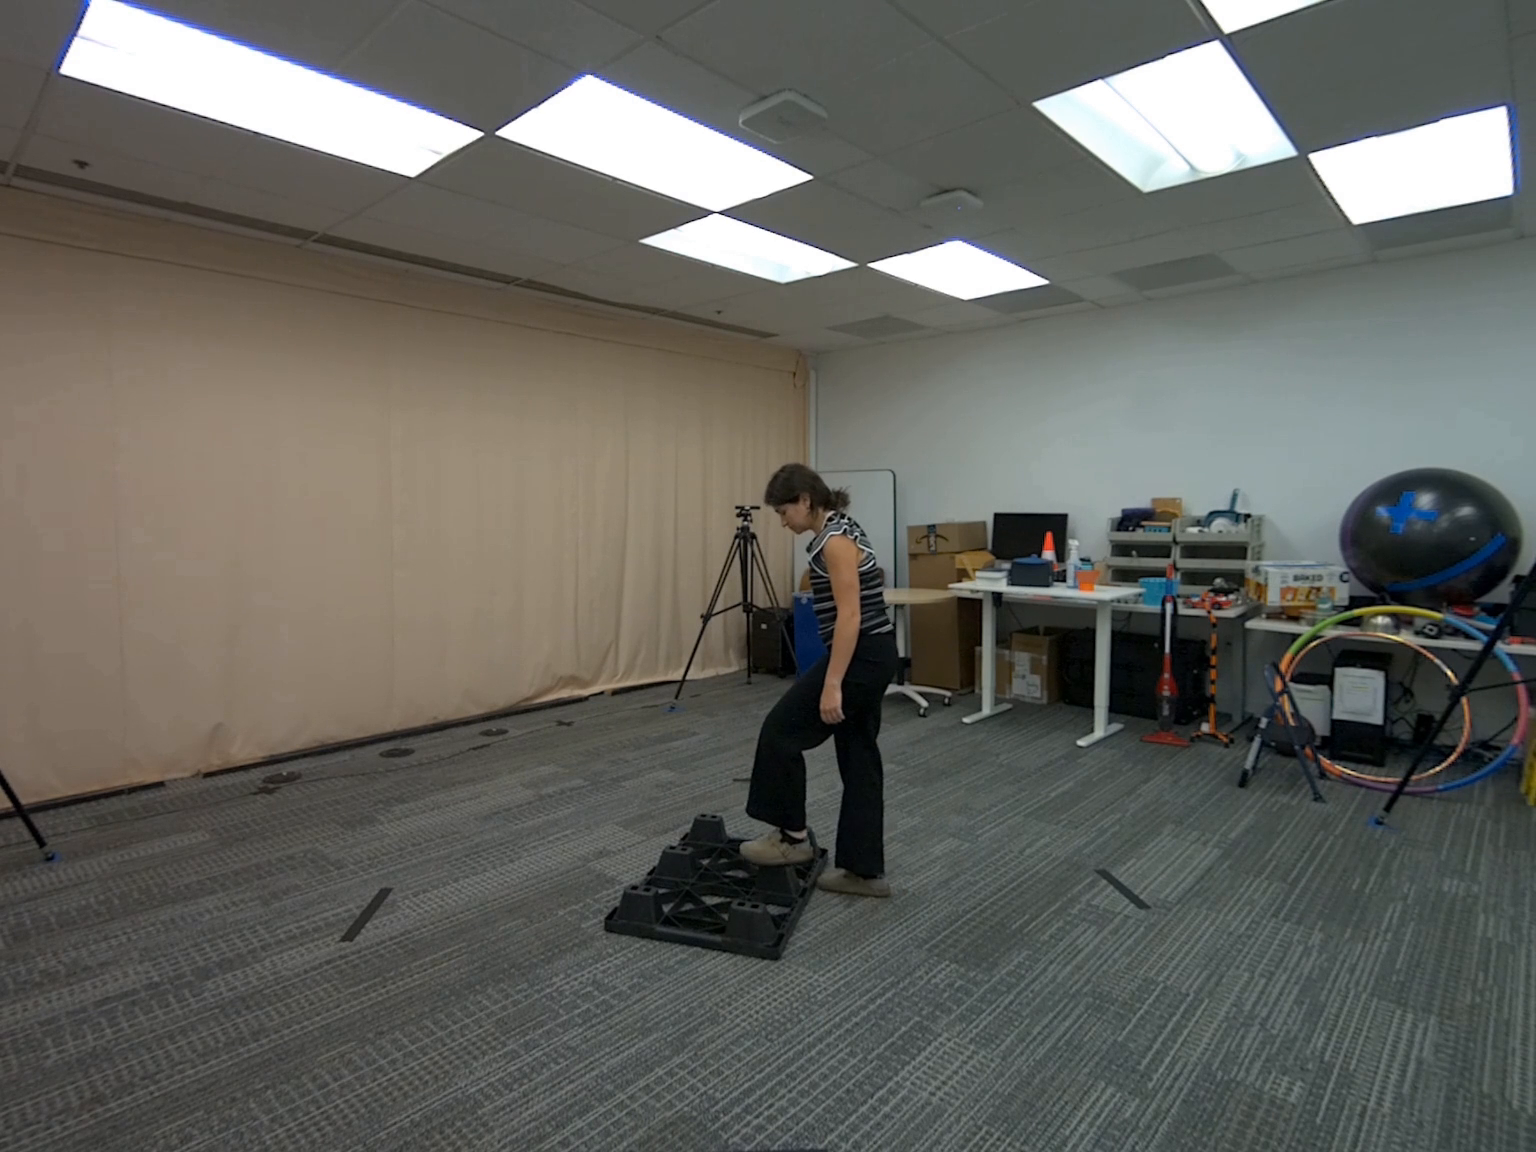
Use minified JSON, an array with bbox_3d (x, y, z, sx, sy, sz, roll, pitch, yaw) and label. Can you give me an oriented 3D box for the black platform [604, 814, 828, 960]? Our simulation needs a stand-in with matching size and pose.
[{"bbox_3d":[-0.146,1.075,3.033,0.616,0.143,0.793,1,5,16],"label":"black platform"}]
